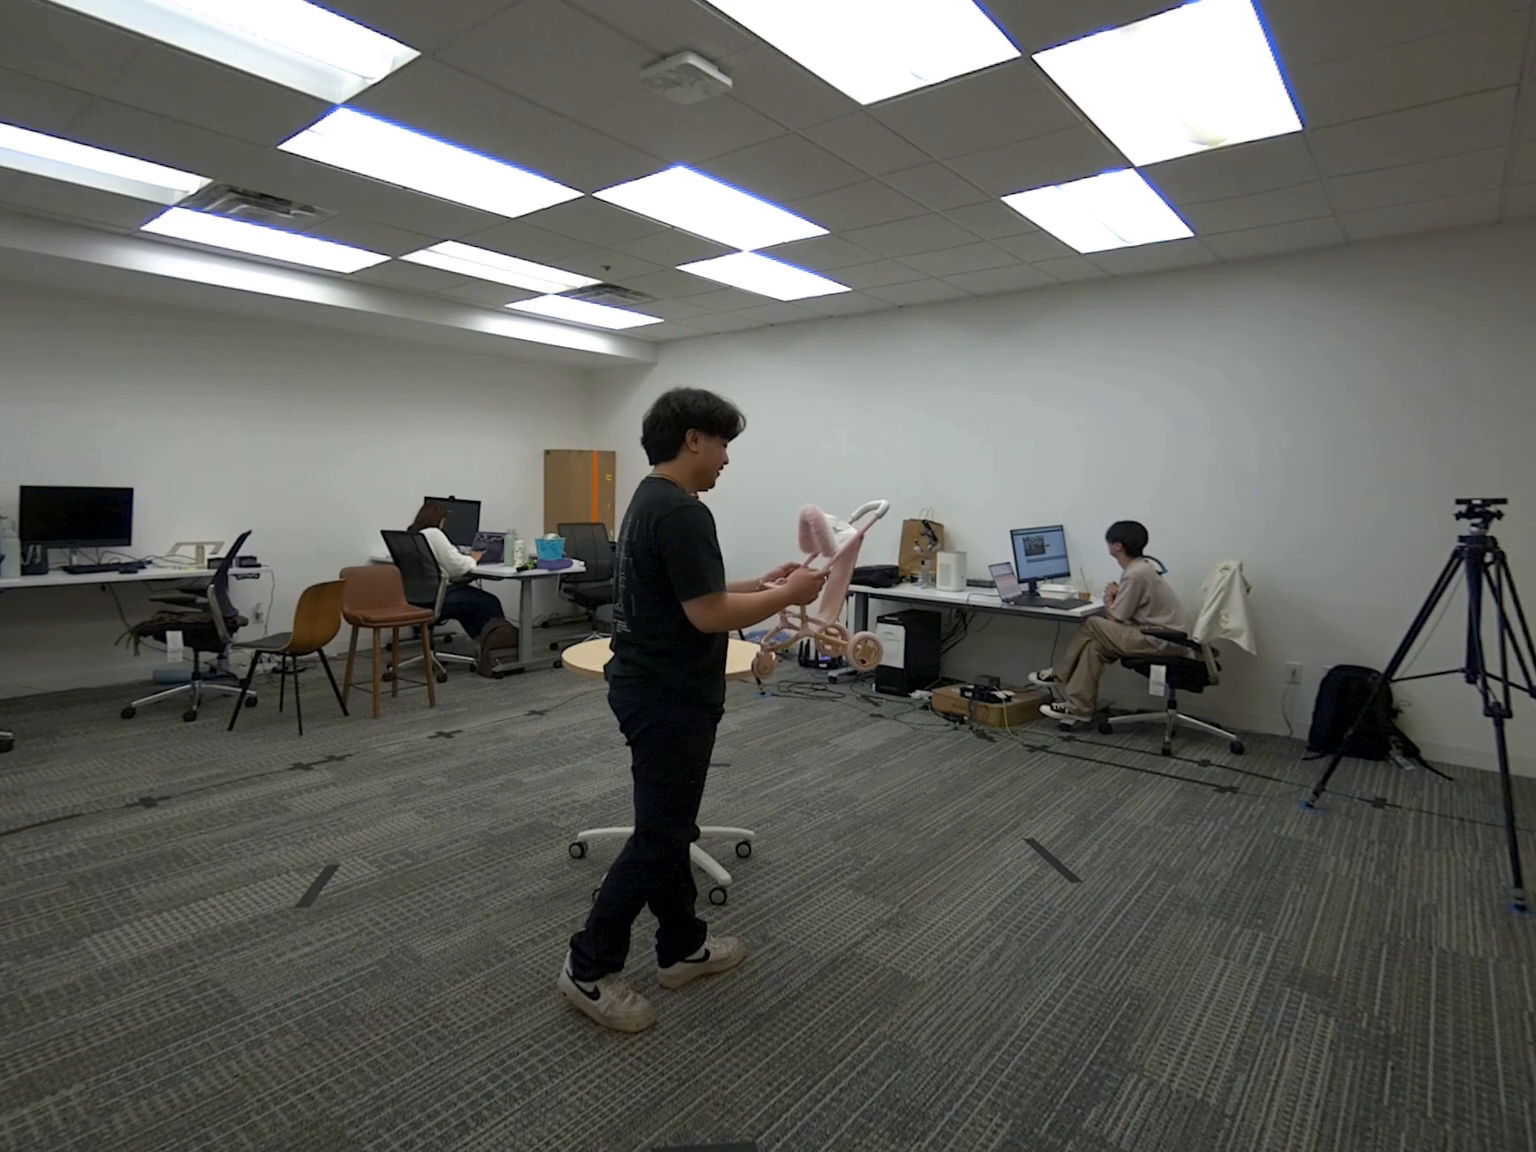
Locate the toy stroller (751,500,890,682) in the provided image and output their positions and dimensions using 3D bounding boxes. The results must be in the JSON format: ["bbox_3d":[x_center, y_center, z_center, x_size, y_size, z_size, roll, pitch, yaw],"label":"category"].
[{"bbox_3d":[0.131,0.034,2.422,0.338,0.535,0.284,7,1,-9],"label":"toy stroller"}]
